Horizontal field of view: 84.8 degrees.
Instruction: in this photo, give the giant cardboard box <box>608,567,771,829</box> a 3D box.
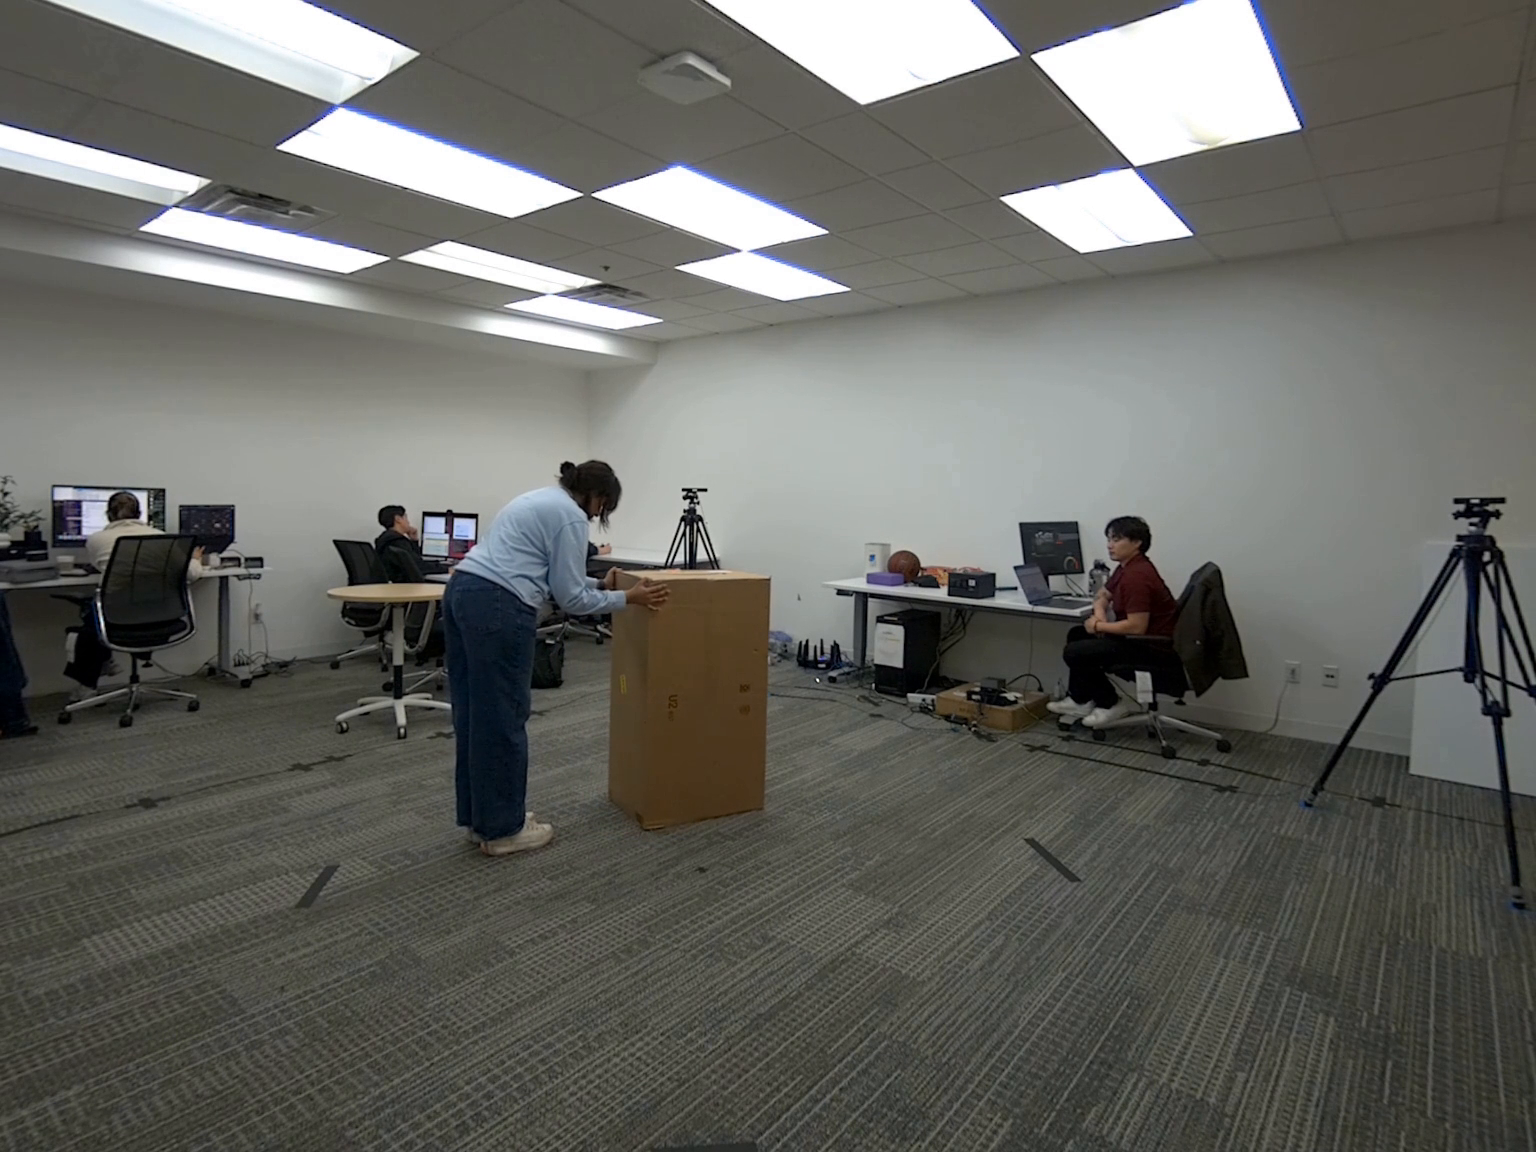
[{"bbox_3d":[-0.364,0.500,3.749,0.562,1.023,0.439,0,3,-31],"label":"giant cardboard box"}]
